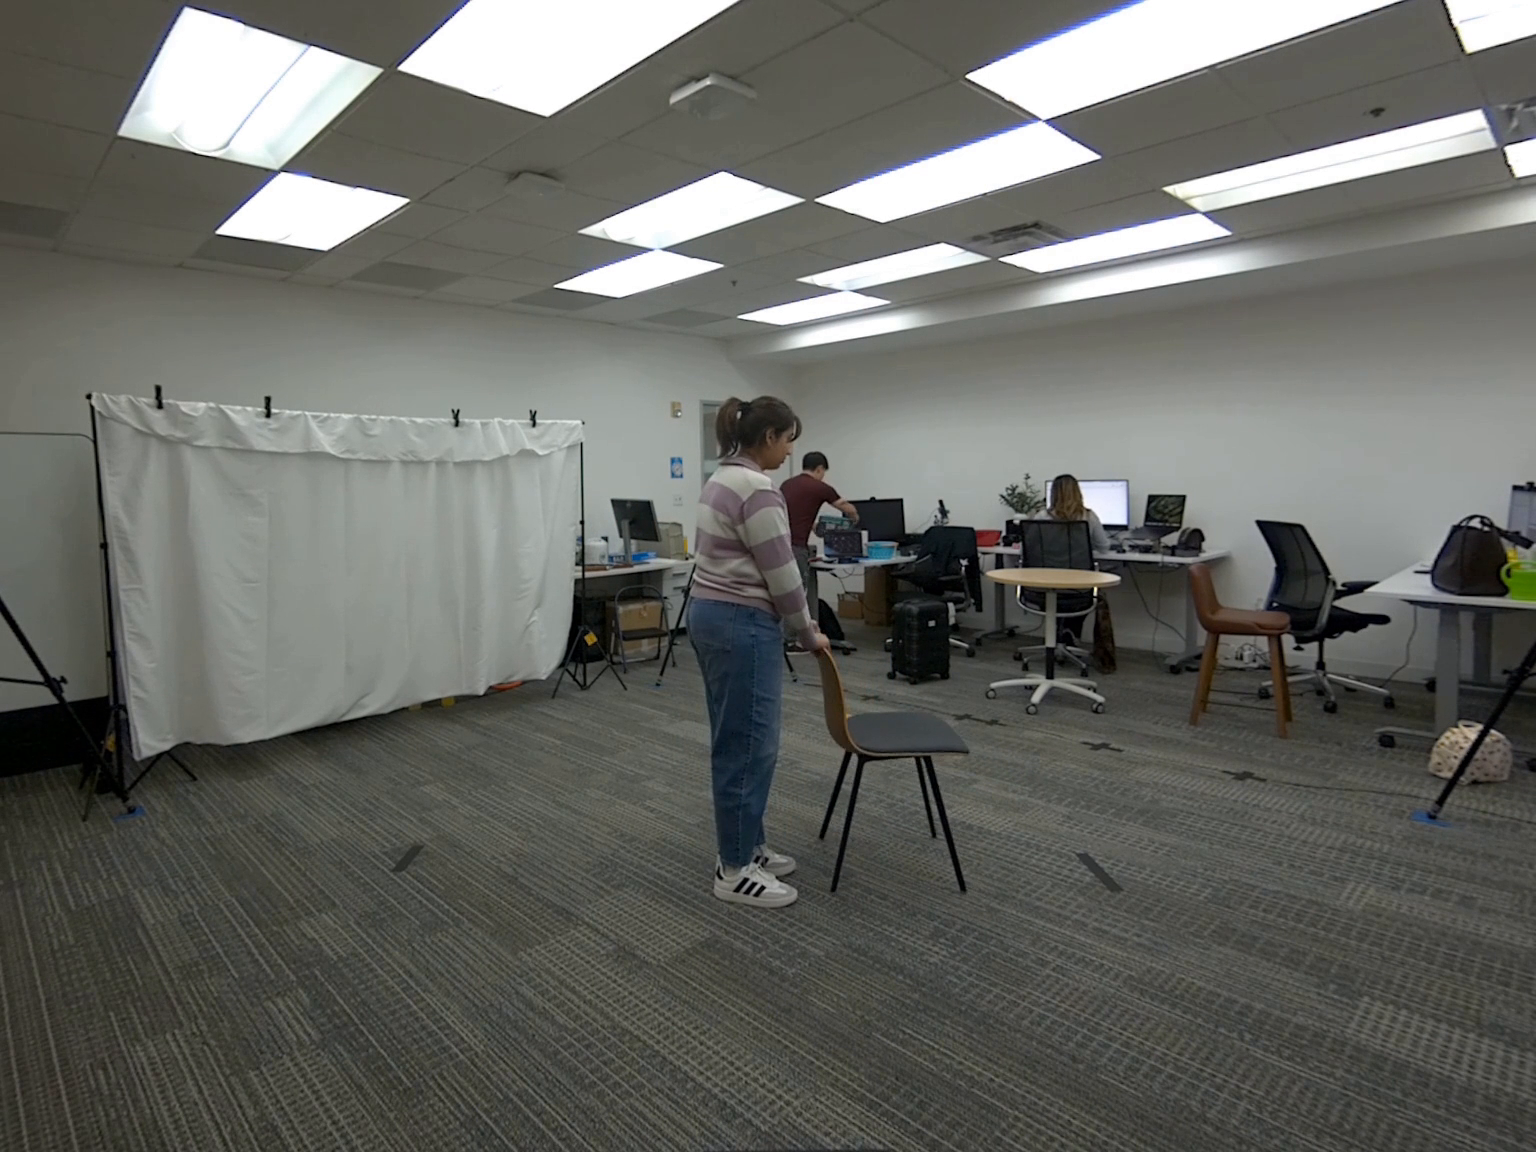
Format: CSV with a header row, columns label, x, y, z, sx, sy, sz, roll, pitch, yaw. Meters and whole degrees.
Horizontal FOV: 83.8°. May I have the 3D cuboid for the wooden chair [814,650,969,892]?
label,x,y,z,sx,sy,sz,roll,pitch,yaw
wooden chair,0.434,0.612,3.073,0.523,0.875,0.479,-5,3,0
